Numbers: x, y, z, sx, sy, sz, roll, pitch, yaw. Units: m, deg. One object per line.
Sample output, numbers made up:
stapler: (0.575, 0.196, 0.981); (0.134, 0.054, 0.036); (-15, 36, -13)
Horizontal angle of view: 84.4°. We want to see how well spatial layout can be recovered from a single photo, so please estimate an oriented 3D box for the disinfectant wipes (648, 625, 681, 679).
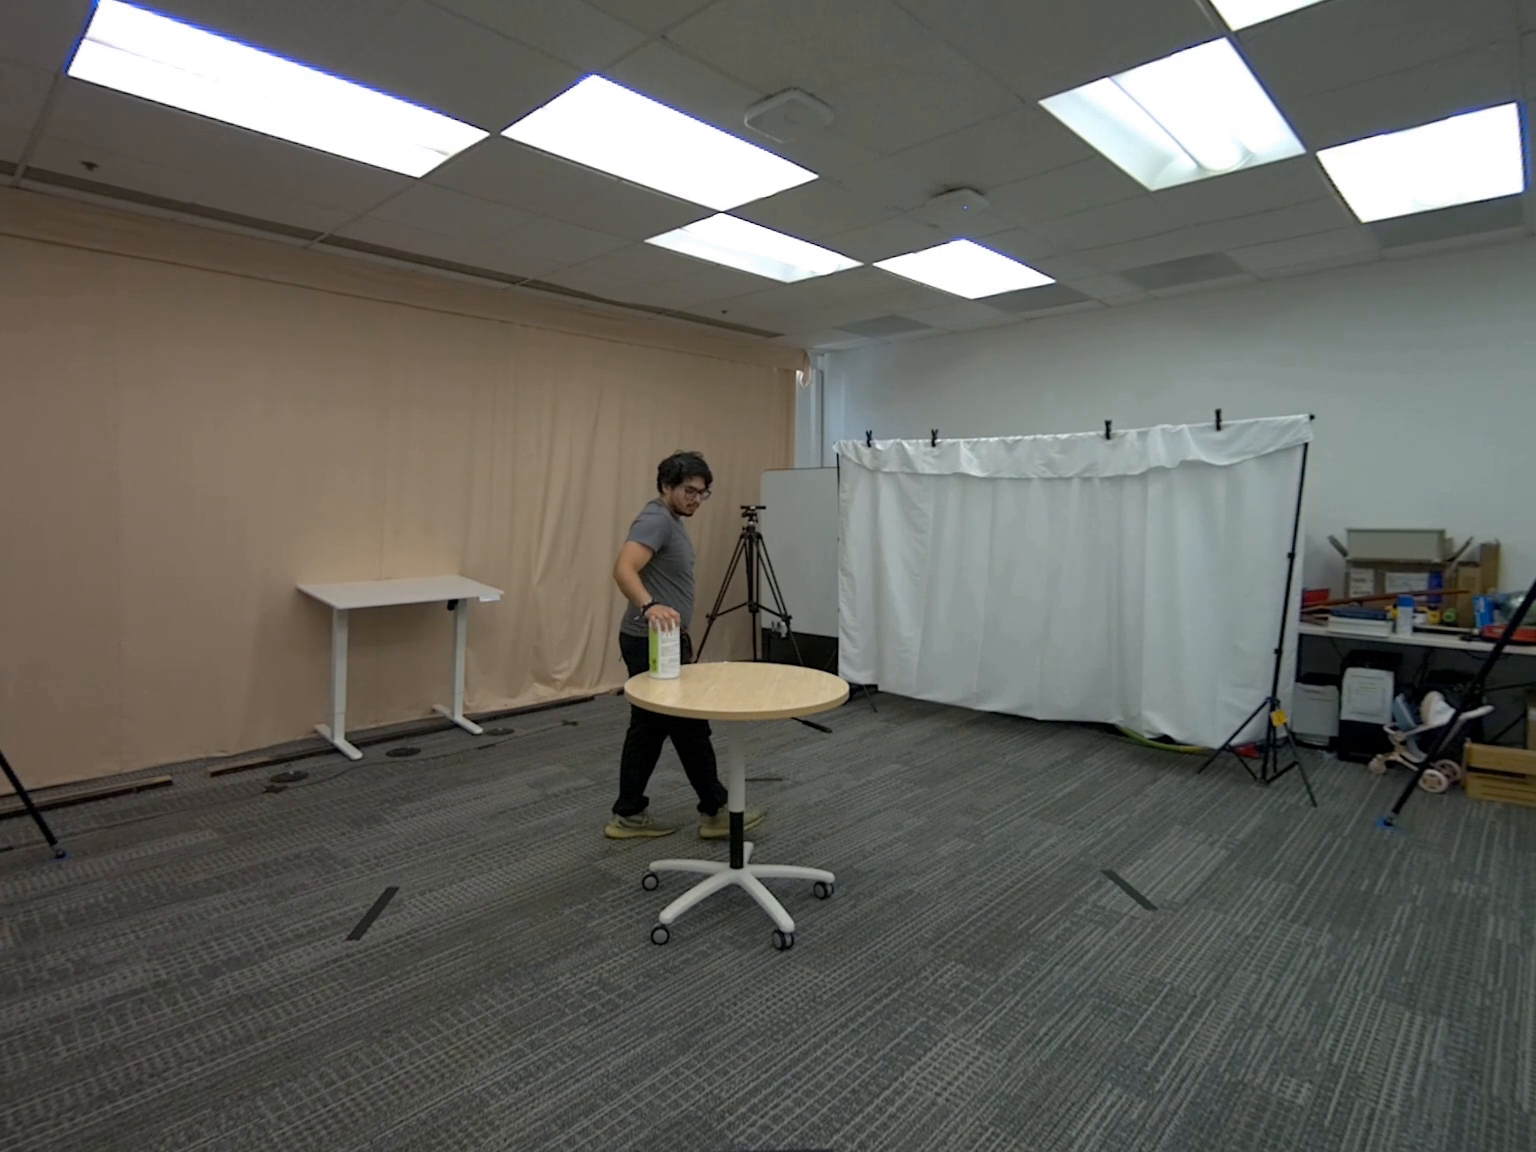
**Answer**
disinfectant wipes: (-0.366, 0.251, 3.002); (0.118, 0.217, 0.118); (-2, 3, -2)
